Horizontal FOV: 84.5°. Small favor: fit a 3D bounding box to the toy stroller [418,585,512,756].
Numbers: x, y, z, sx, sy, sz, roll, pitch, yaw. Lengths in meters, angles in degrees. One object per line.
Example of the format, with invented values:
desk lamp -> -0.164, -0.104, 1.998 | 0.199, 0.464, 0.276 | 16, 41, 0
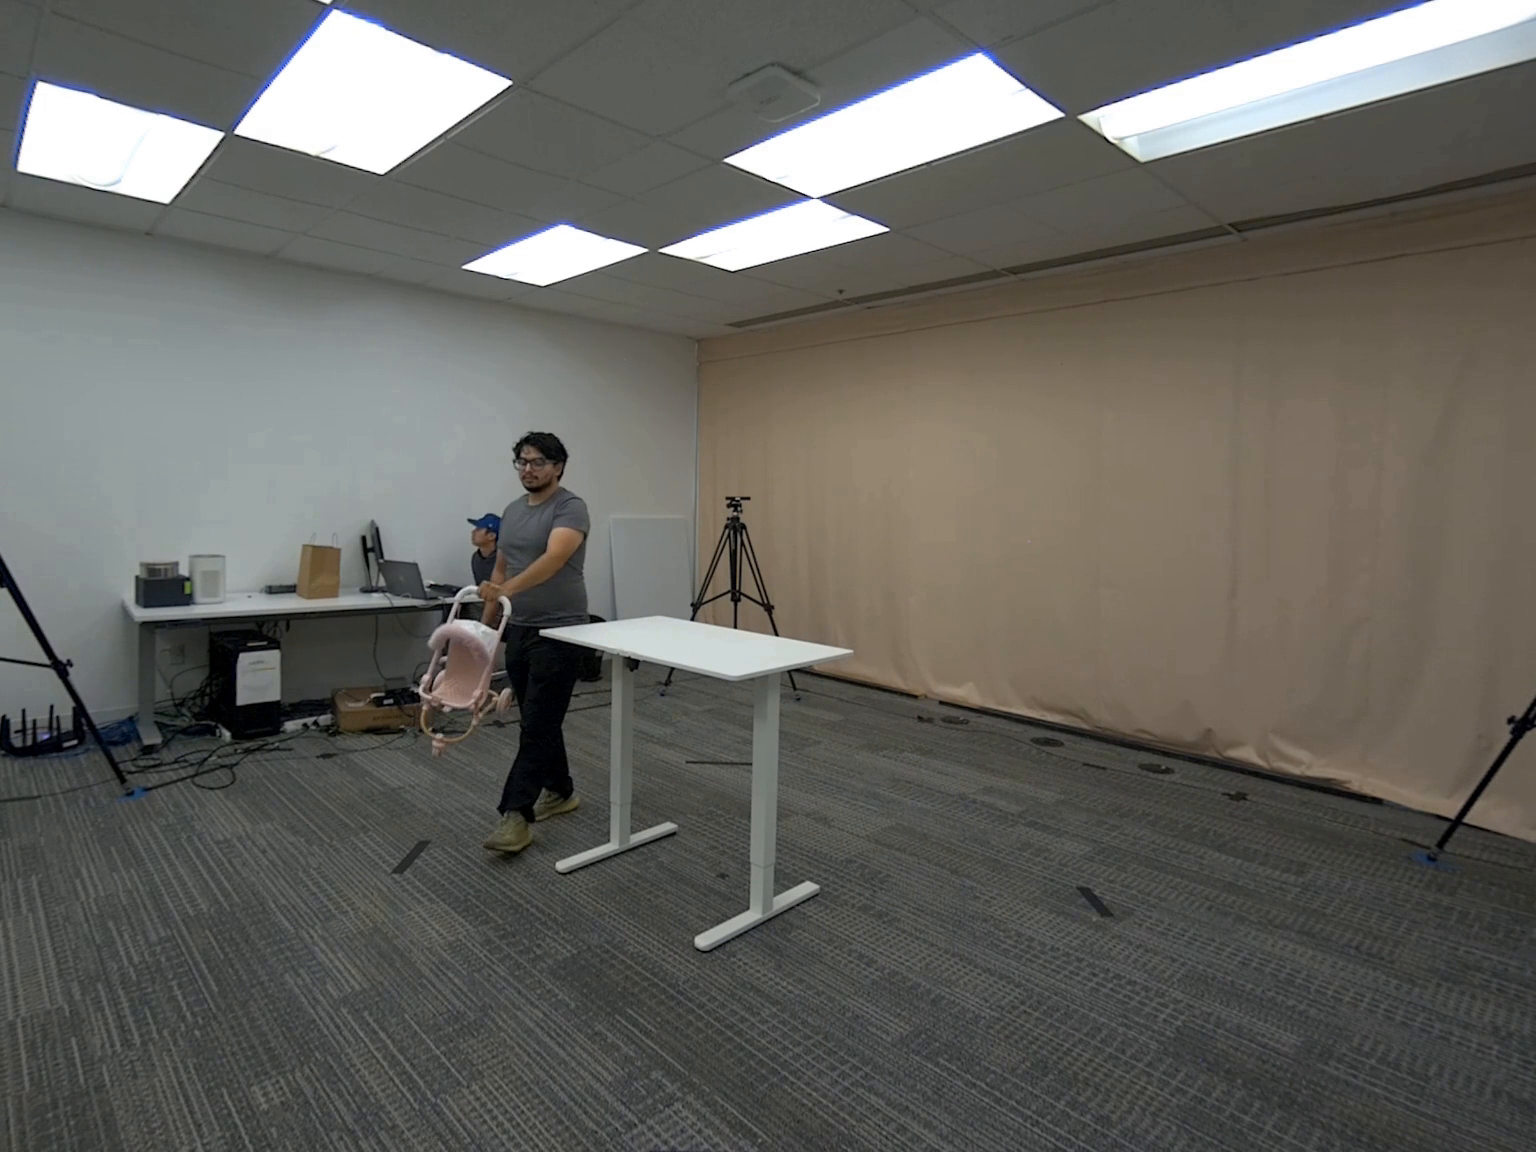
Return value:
toy stroller -> -1.094, 0.358, 2.963 | 0.284, 0.528, 0.343 | 17, 27, 7
